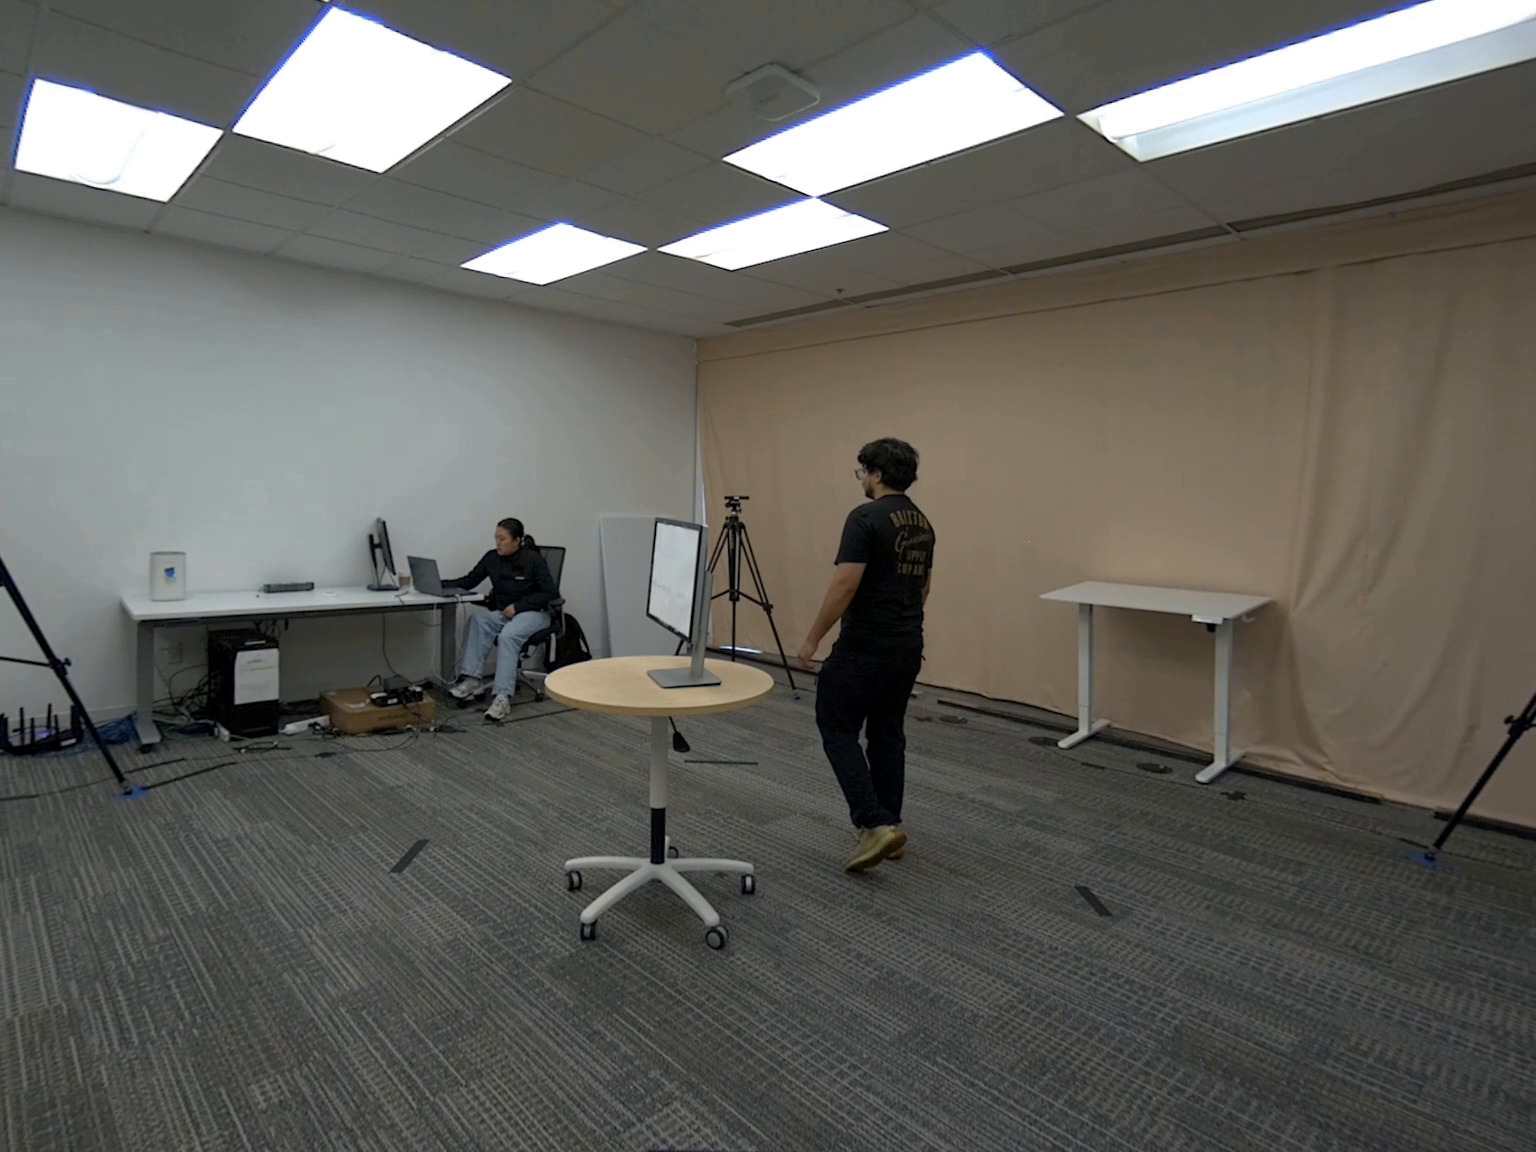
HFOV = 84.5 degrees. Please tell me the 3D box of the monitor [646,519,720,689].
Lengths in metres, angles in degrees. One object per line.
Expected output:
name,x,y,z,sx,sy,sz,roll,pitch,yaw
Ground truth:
monitor,-0.263,0.087,2.826,0.207,0.553,0.576,3,4,-21
